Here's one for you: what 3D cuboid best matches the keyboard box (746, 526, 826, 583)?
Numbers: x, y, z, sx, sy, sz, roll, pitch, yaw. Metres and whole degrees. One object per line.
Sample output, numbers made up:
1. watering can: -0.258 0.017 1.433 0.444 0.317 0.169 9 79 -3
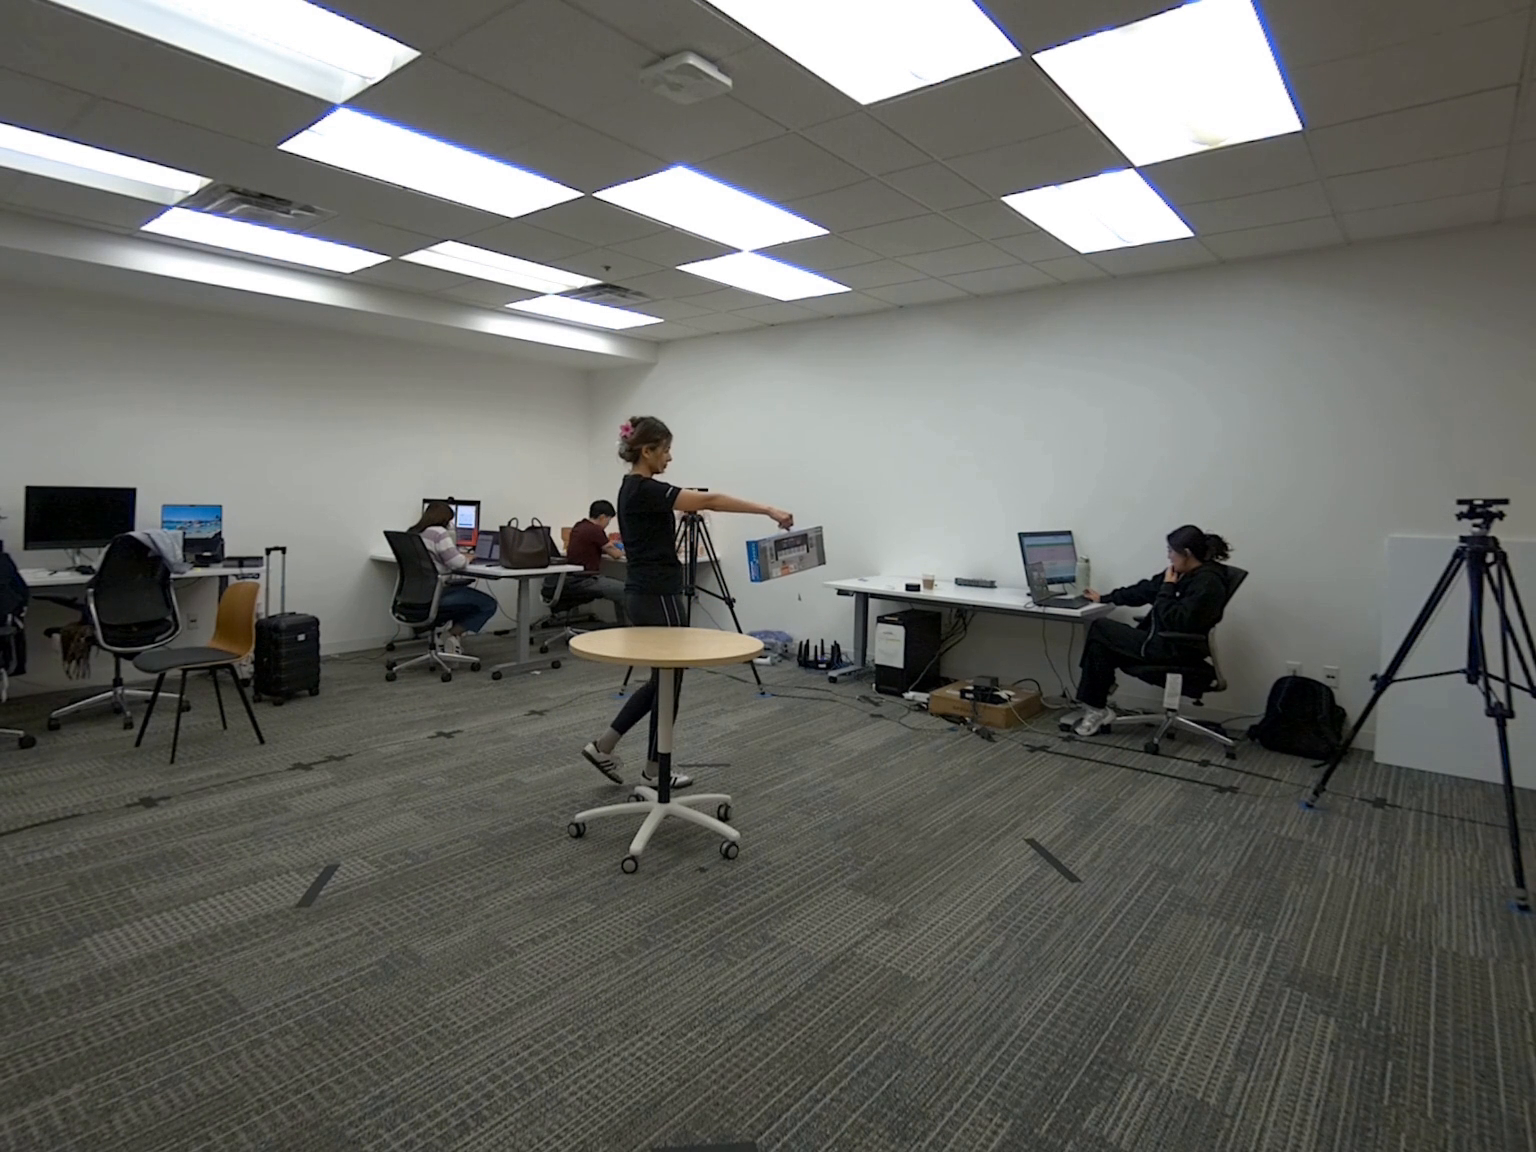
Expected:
1. keyboard box: 0.069 -0.096 3.593 0.061 0.175 0.426 -1 10 42
